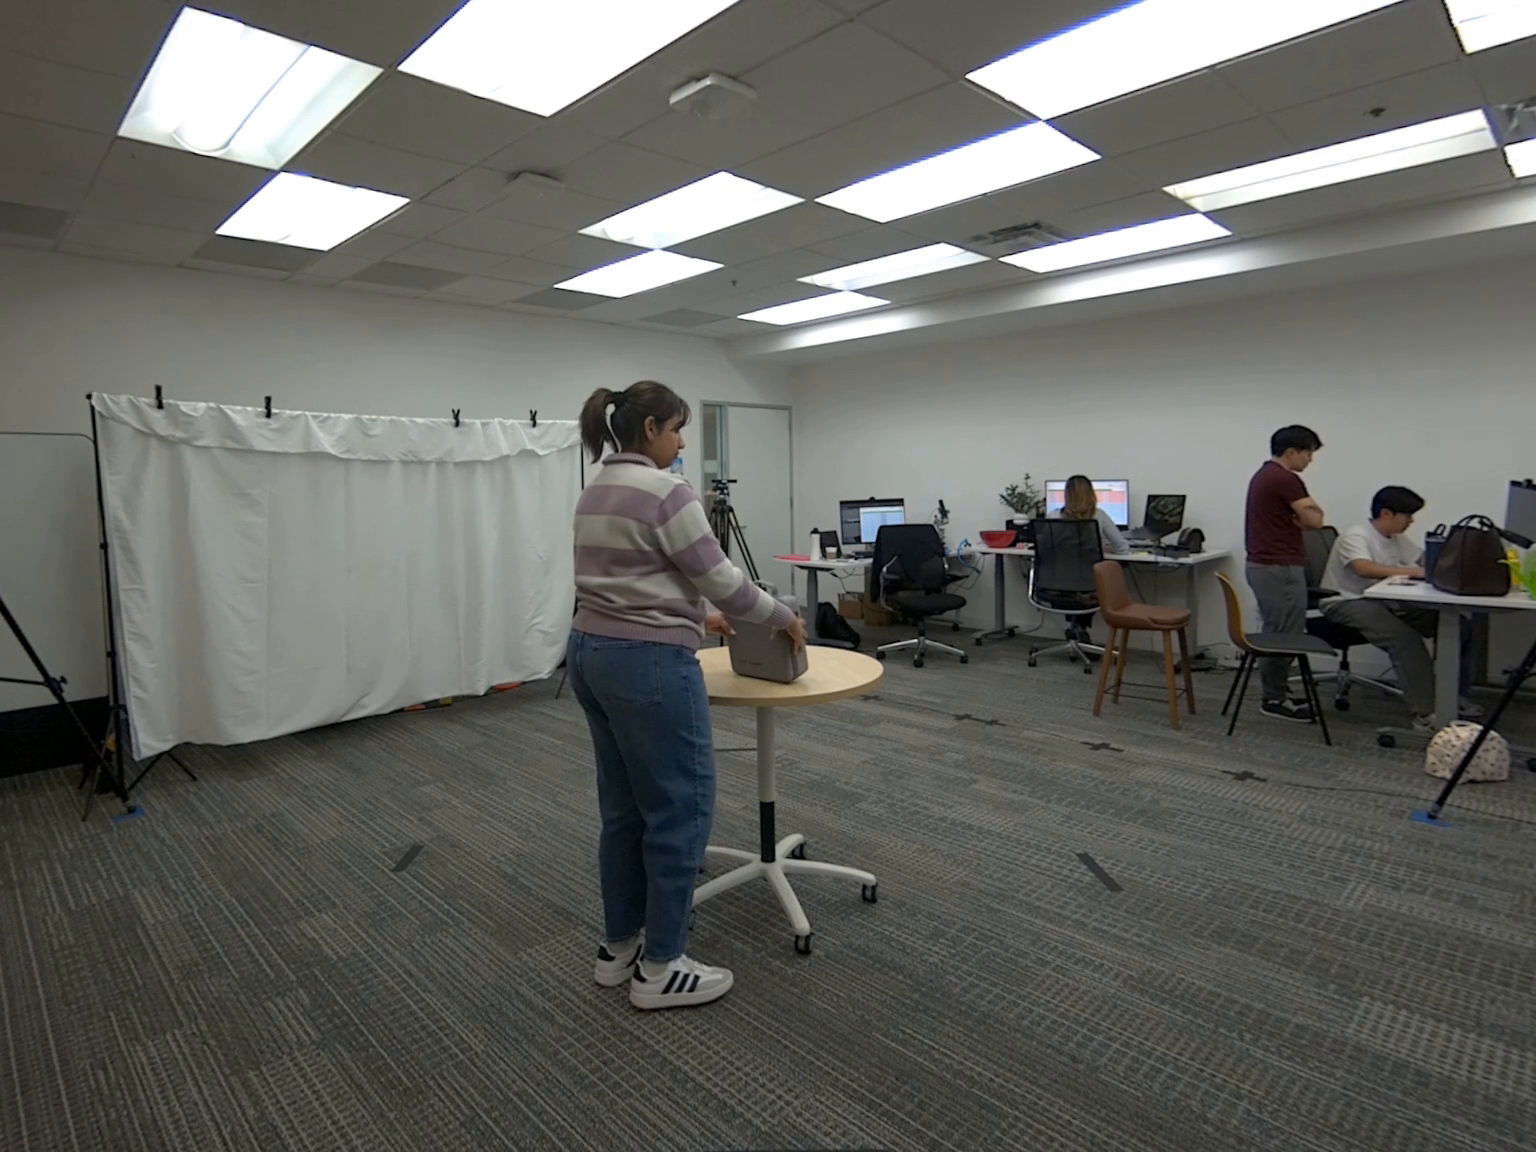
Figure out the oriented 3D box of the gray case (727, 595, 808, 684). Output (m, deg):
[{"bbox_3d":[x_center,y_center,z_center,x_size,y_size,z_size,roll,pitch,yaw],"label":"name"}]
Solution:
[{"bbox_3d":[-0.010,0.182,2.631,0.102,0.258,0.265,-14,12,-42],"label":"gray case"}]
